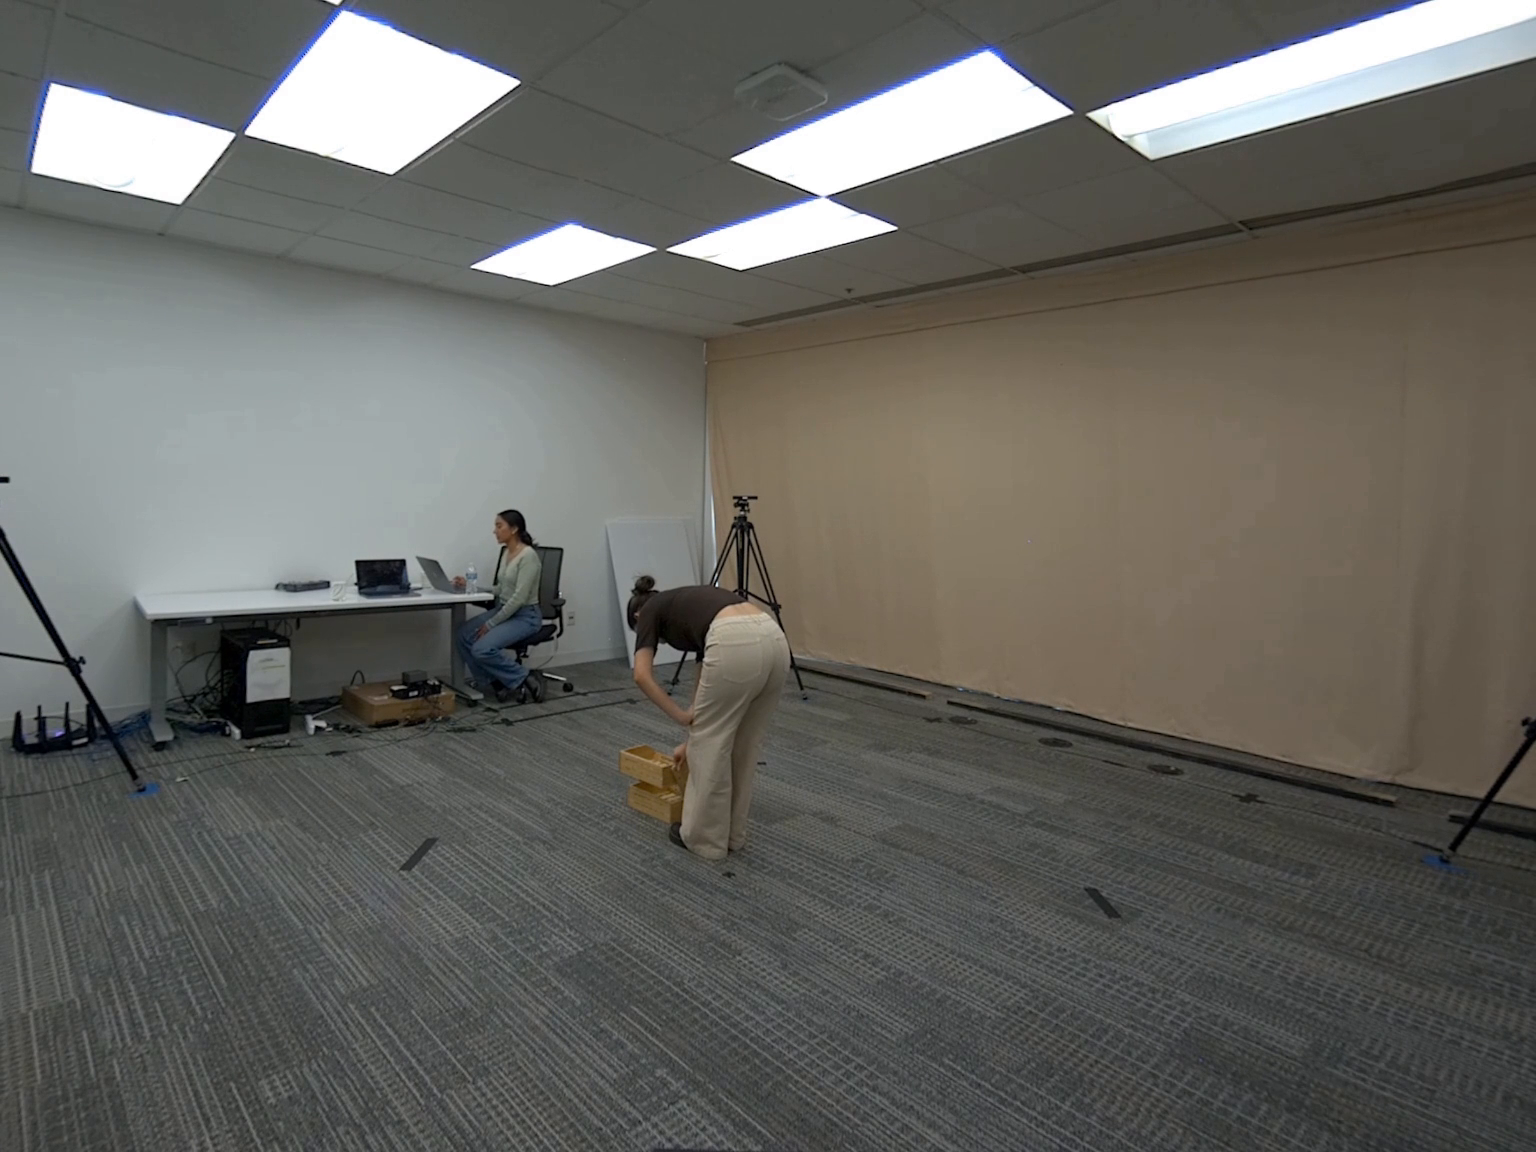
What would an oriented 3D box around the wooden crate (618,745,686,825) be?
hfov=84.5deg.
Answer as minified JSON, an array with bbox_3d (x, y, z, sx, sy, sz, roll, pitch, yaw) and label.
[{"bbox_3d":[-0.460,0.905,3.741,0.333,0.272,0.295,6,7,44],"label":"wooden crate"}]
